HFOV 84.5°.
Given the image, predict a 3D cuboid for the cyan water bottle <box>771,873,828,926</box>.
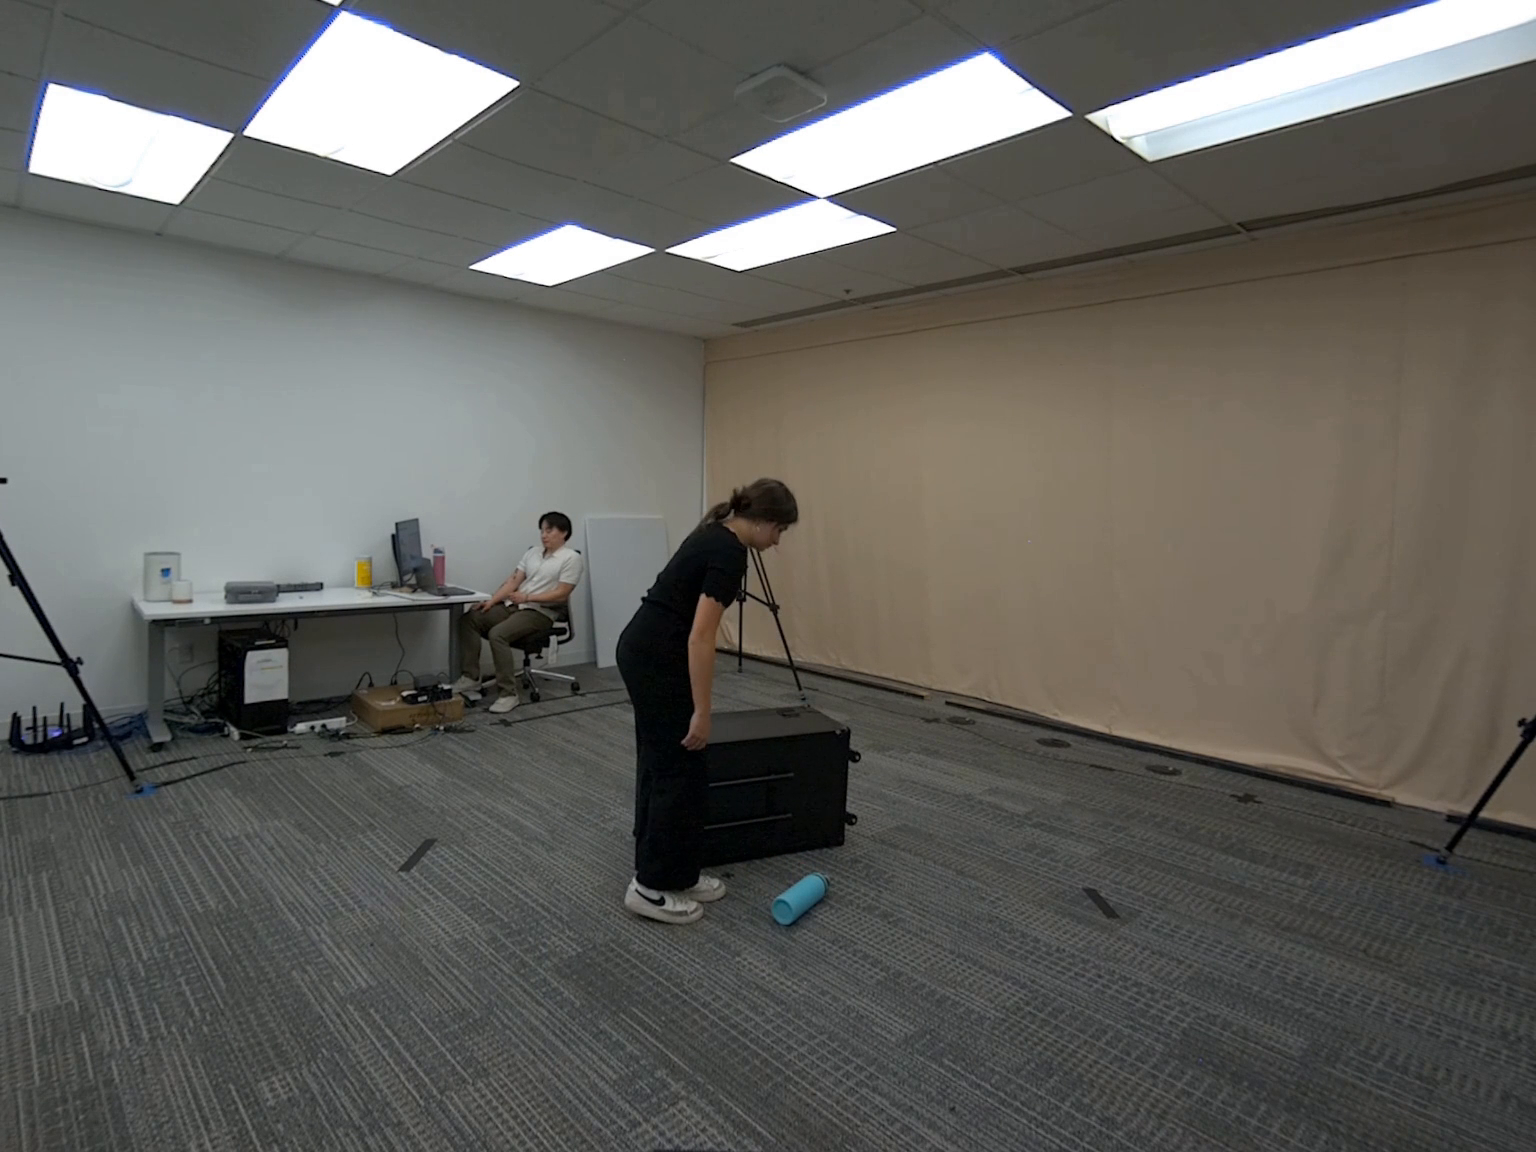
[{"bbox_3d":[0.106,1.088,2.858,0.094,0.092,0.278,4,6,31],"label":"cyan water bottle"}]
